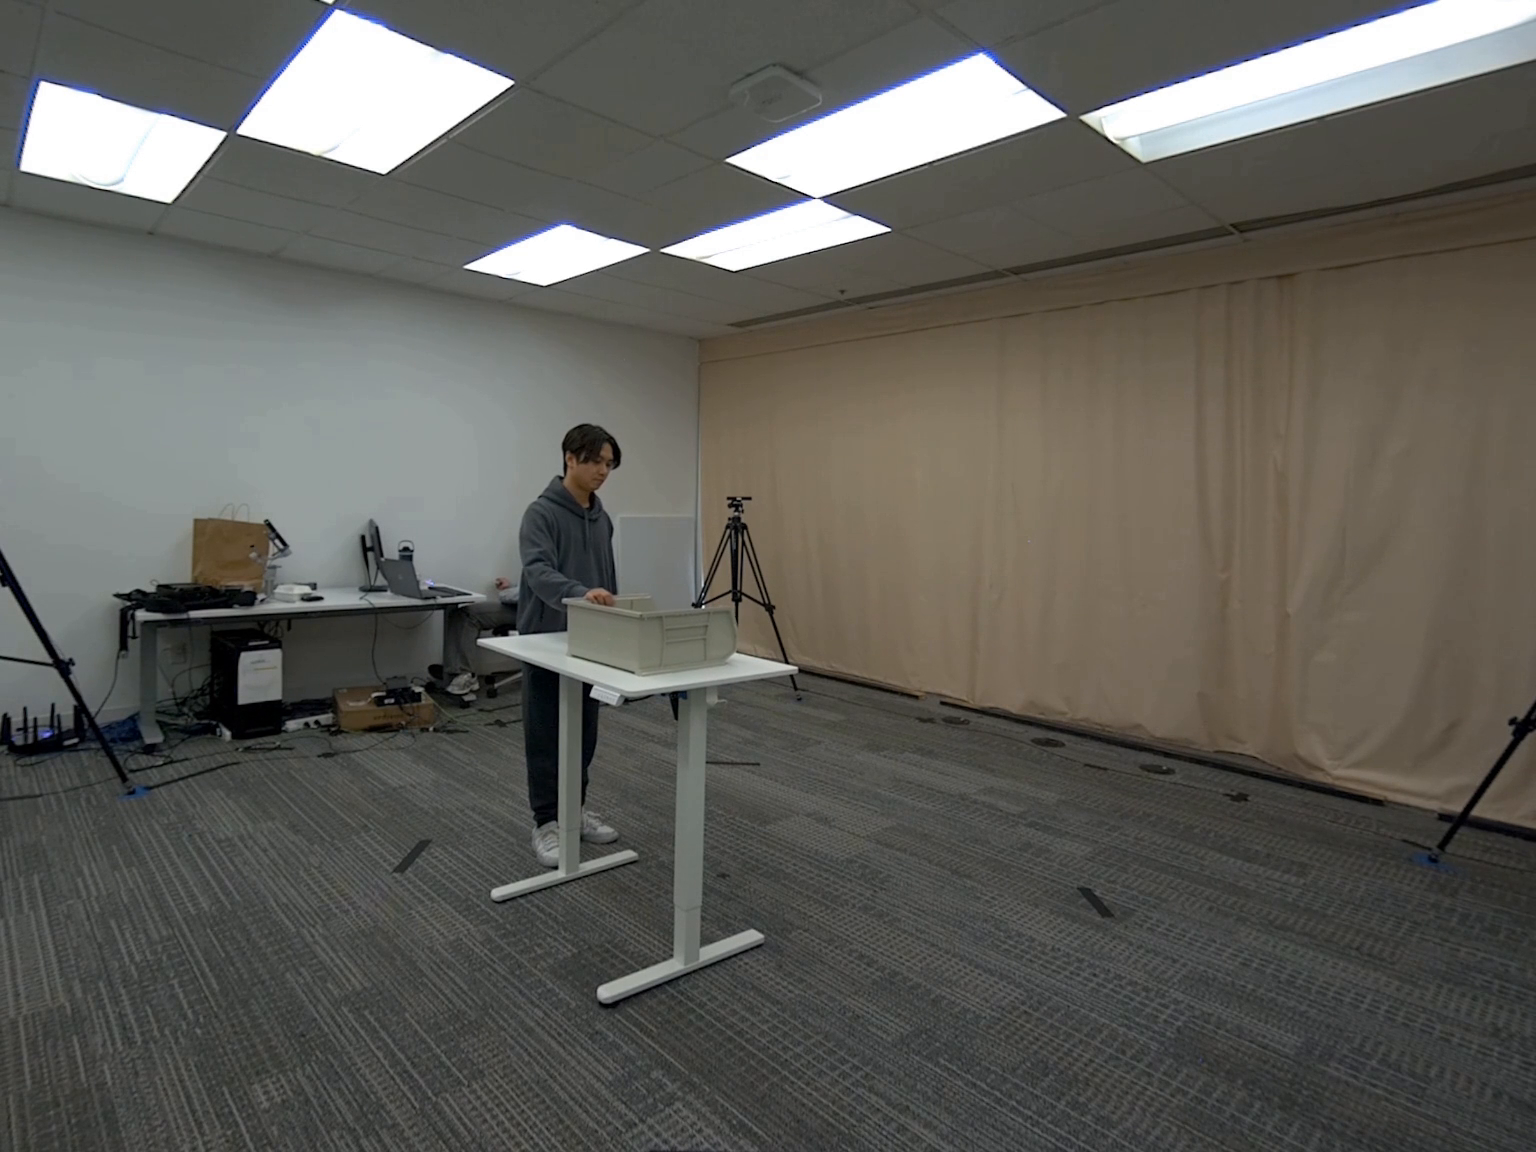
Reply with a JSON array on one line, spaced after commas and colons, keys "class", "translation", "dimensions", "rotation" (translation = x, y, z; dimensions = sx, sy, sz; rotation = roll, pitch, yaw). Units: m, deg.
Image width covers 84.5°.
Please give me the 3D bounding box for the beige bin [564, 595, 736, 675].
[{"class": "beige bin", "translation": [-0.372, 0.173, 2.609], "dimensions": [0.369, 0.188, 0.433], "rotation": [-4, 7, -42]}]
